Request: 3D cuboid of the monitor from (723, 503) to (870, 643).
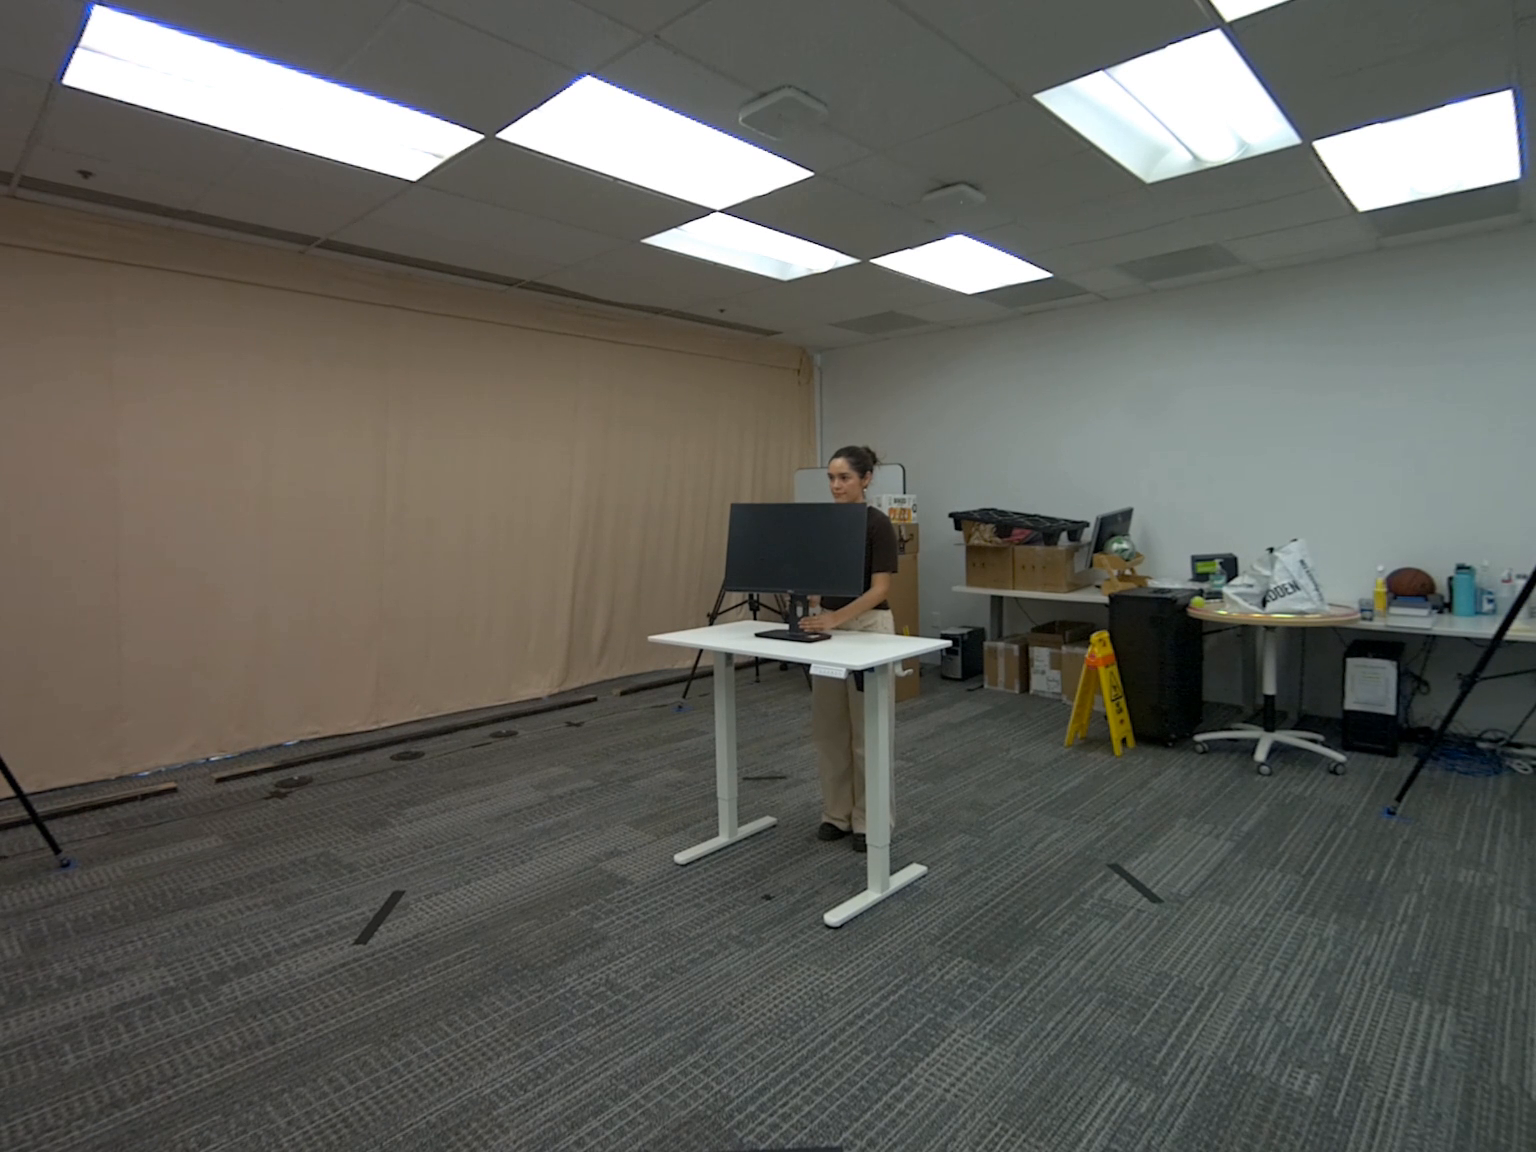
[{"bbox_3d":[0.110,-0.019,3.211,0.549,0.522,0.184,2,2,17],"label":"monitor"}]
